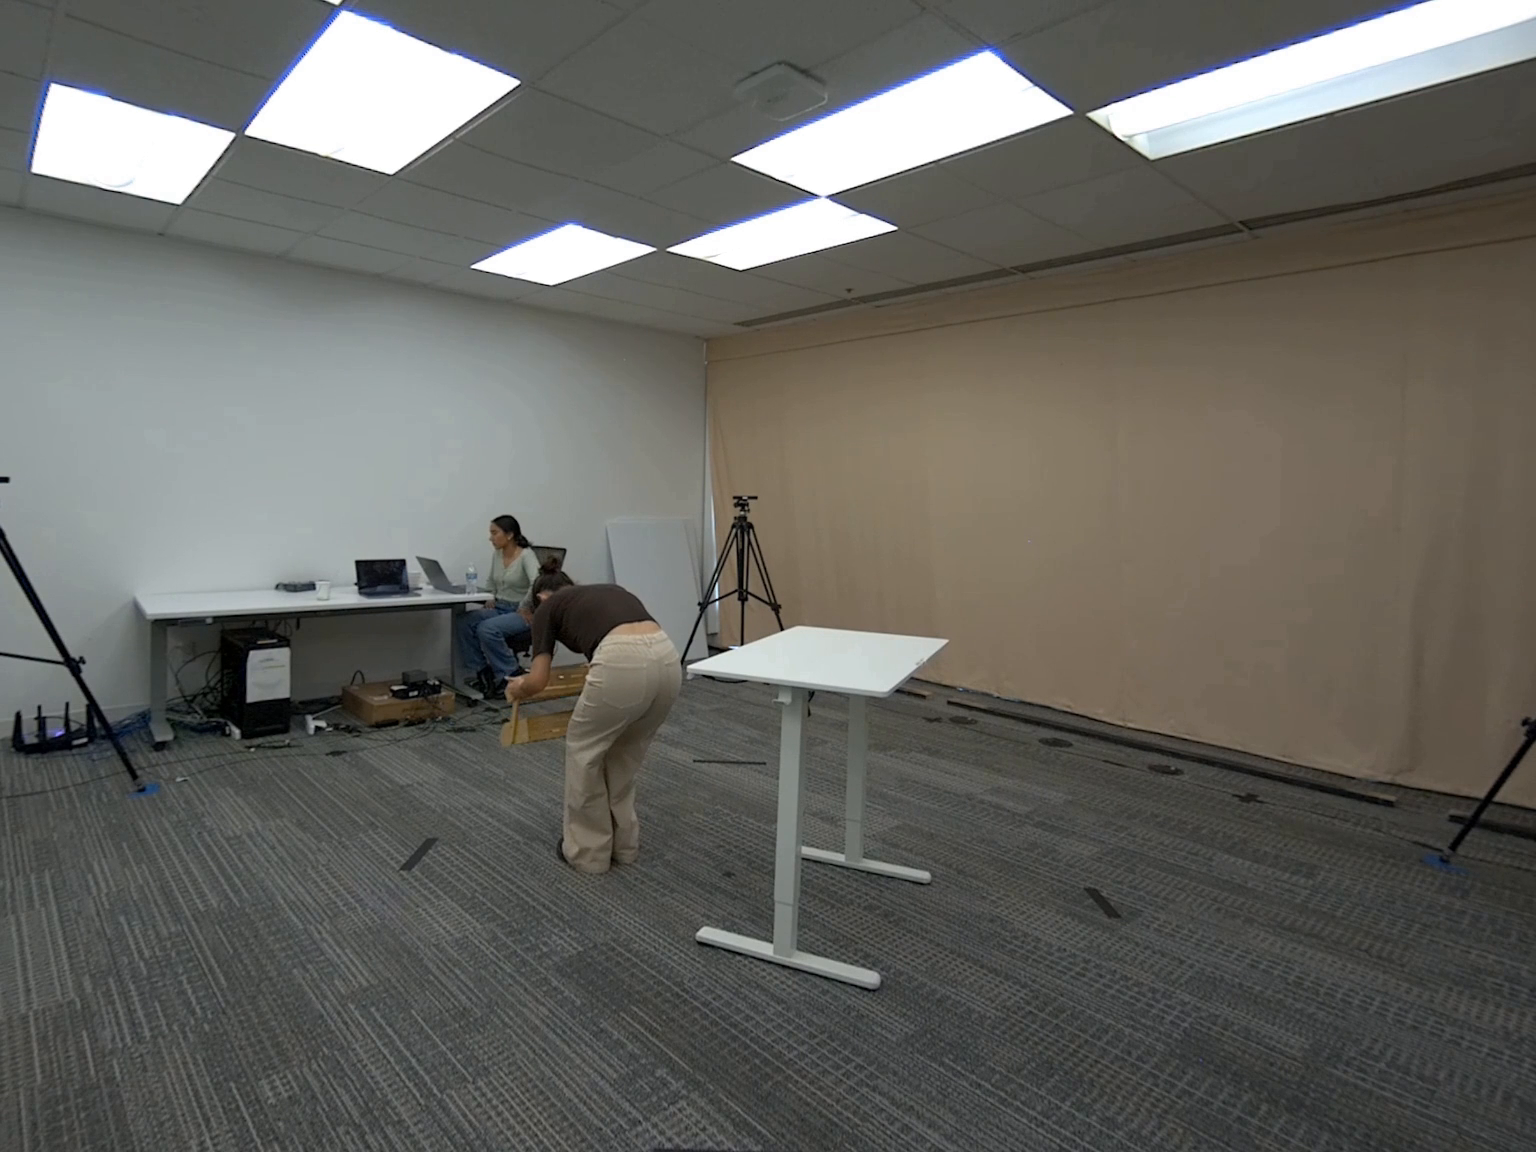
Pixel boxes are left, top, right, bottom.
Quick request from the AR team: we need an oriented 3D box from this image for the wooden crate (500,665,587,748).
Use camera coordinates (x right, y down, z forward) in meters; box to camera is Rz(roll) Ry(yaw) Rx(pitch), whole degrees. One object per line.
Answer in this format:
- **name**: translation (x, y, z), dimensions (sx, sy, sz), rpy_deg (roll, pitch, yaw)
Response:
- **wooden crate**: translation (-0.933, 0.544, 3.494), dimensions (0.317, 0.276, 0.306), rpy_deg (1, -13, -43)
